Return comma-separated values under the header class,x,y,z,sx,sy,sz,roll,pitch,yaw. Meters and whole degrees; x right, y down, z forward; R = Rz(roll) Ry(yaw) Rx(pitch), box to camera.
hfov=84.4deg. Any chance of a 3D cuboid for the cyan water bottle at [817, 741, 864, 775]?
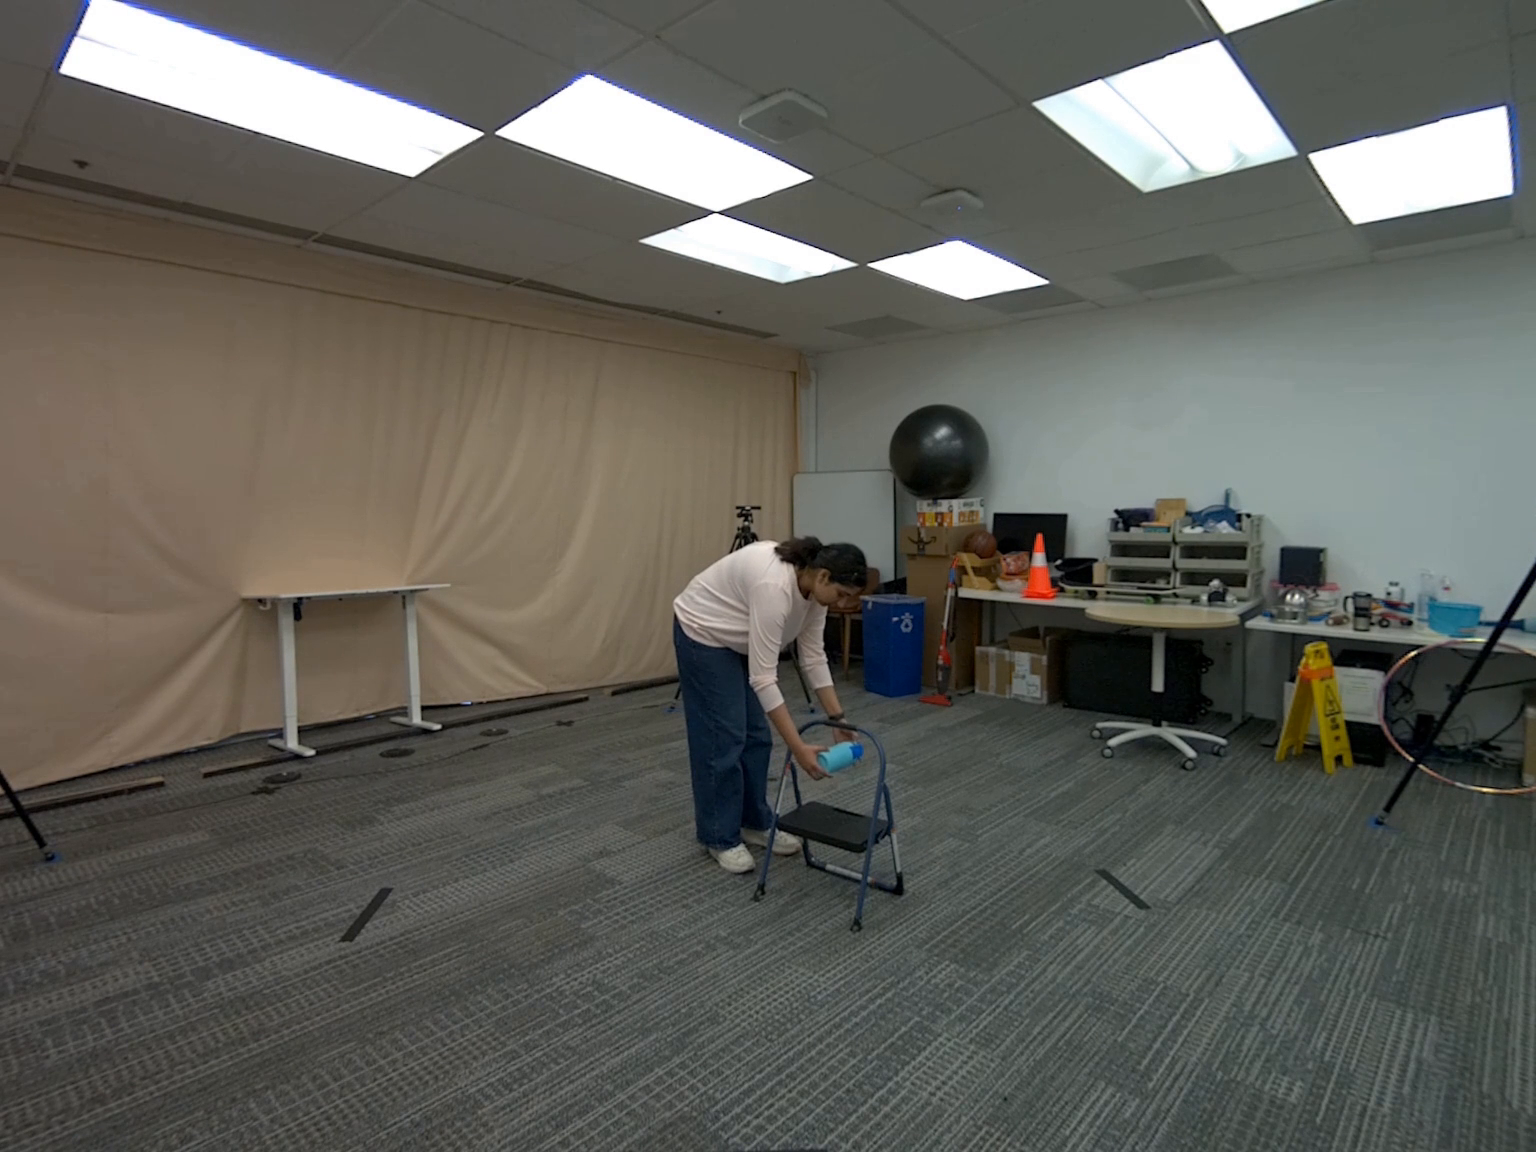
class,x,y,z,sx,sy,sz,roll,pitch,yaw
cyan water bottle,0.247,0.665,3.107,0.095,0.092,0.275,3,3,34
